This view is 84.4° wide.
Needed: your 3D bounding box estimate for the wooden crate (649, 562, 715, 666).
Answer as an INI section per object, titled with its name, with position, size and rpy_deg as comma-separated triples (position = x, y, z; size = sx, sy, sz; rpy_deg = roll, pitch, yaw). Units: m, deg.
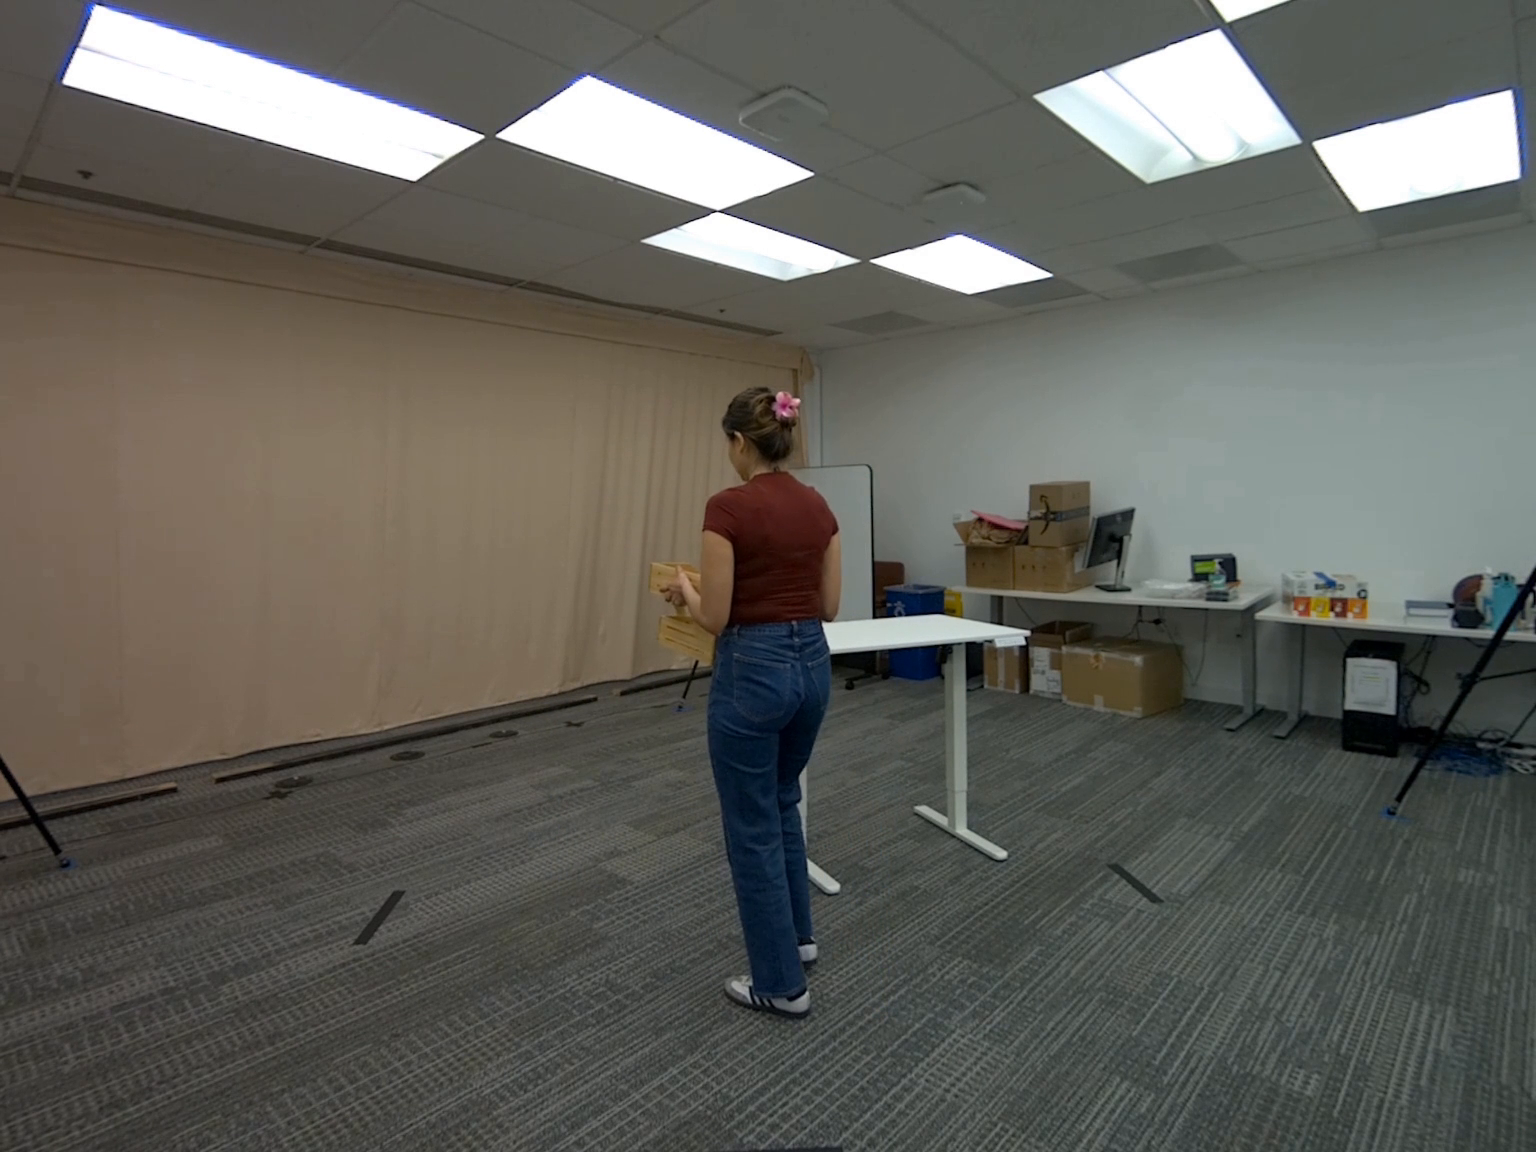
[wooden crate]
position = -0.164, 0.107, 2.605
size = 0.292, 0.272, 0.336
rpy_deg = 1, 7, -40
